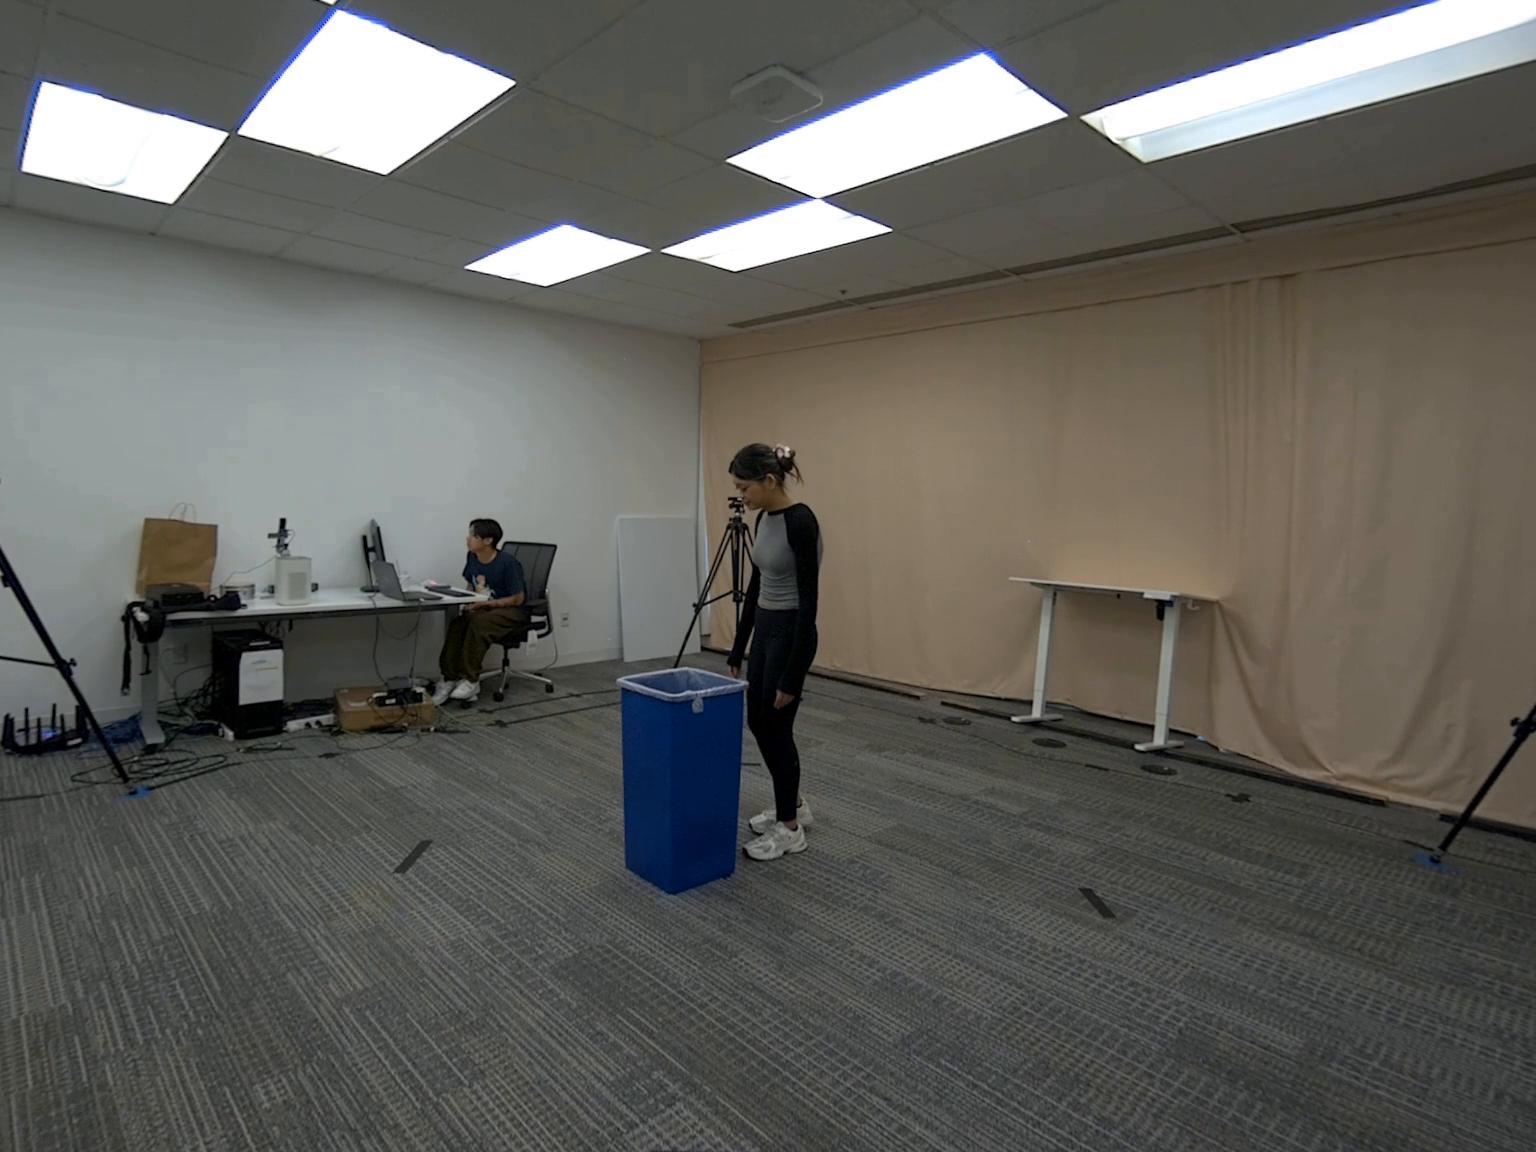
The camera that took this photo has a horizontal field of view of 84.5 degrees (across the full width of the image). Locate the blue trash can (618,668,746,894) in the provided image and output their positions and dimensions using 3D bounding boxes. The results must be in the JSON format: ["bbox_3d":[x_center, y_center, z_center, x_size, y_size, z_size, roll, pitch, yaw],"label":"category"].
[{"bbox_3d":[-0.337,0.744,3.132,0.369,0.712,0.383,-1,4,-42],"label":"blue trash can"}]
